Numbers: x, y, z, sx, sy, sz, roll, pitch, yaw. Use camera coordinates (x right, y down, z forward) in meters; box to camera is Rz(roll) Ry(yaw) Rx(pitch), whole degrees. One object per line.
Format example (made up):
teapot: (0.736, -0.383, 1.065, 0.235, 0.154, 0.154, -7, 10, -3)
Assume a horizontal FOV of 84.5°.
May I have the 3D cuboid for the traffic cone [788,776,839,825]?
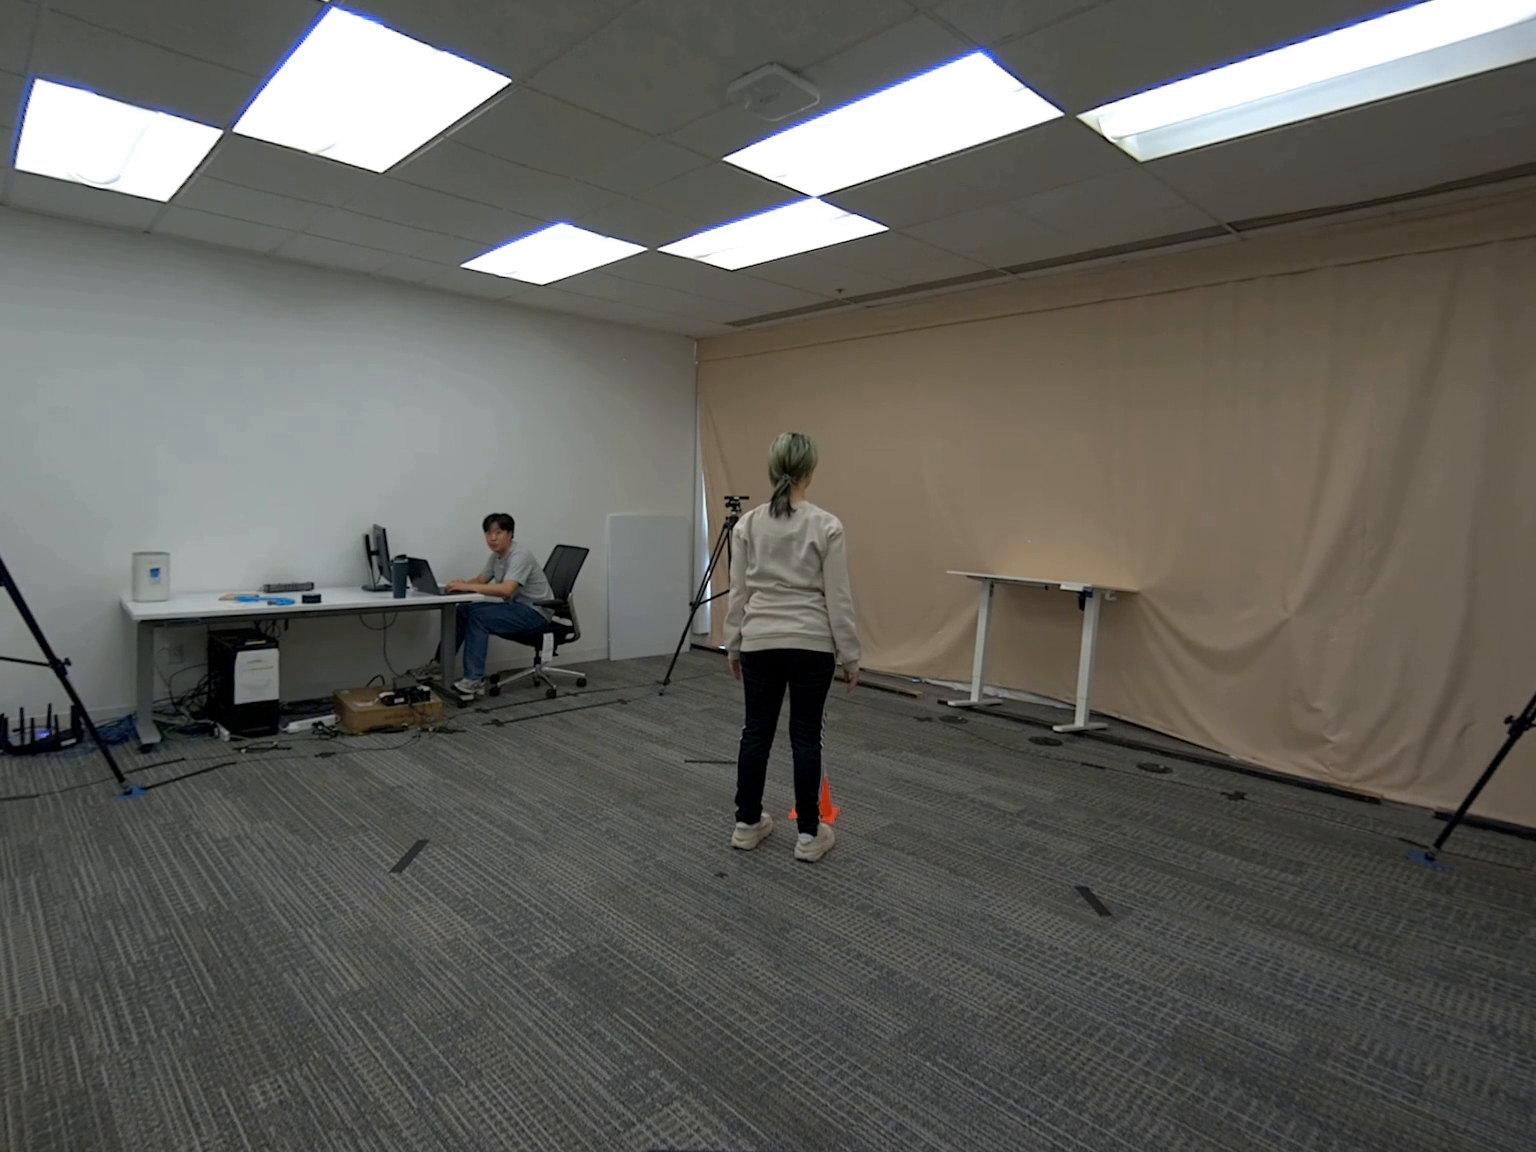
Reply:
traffic cone: (0.196, 0.872, 3.753, 0.205, 0.383, 0.204, 0, 3, 9)
